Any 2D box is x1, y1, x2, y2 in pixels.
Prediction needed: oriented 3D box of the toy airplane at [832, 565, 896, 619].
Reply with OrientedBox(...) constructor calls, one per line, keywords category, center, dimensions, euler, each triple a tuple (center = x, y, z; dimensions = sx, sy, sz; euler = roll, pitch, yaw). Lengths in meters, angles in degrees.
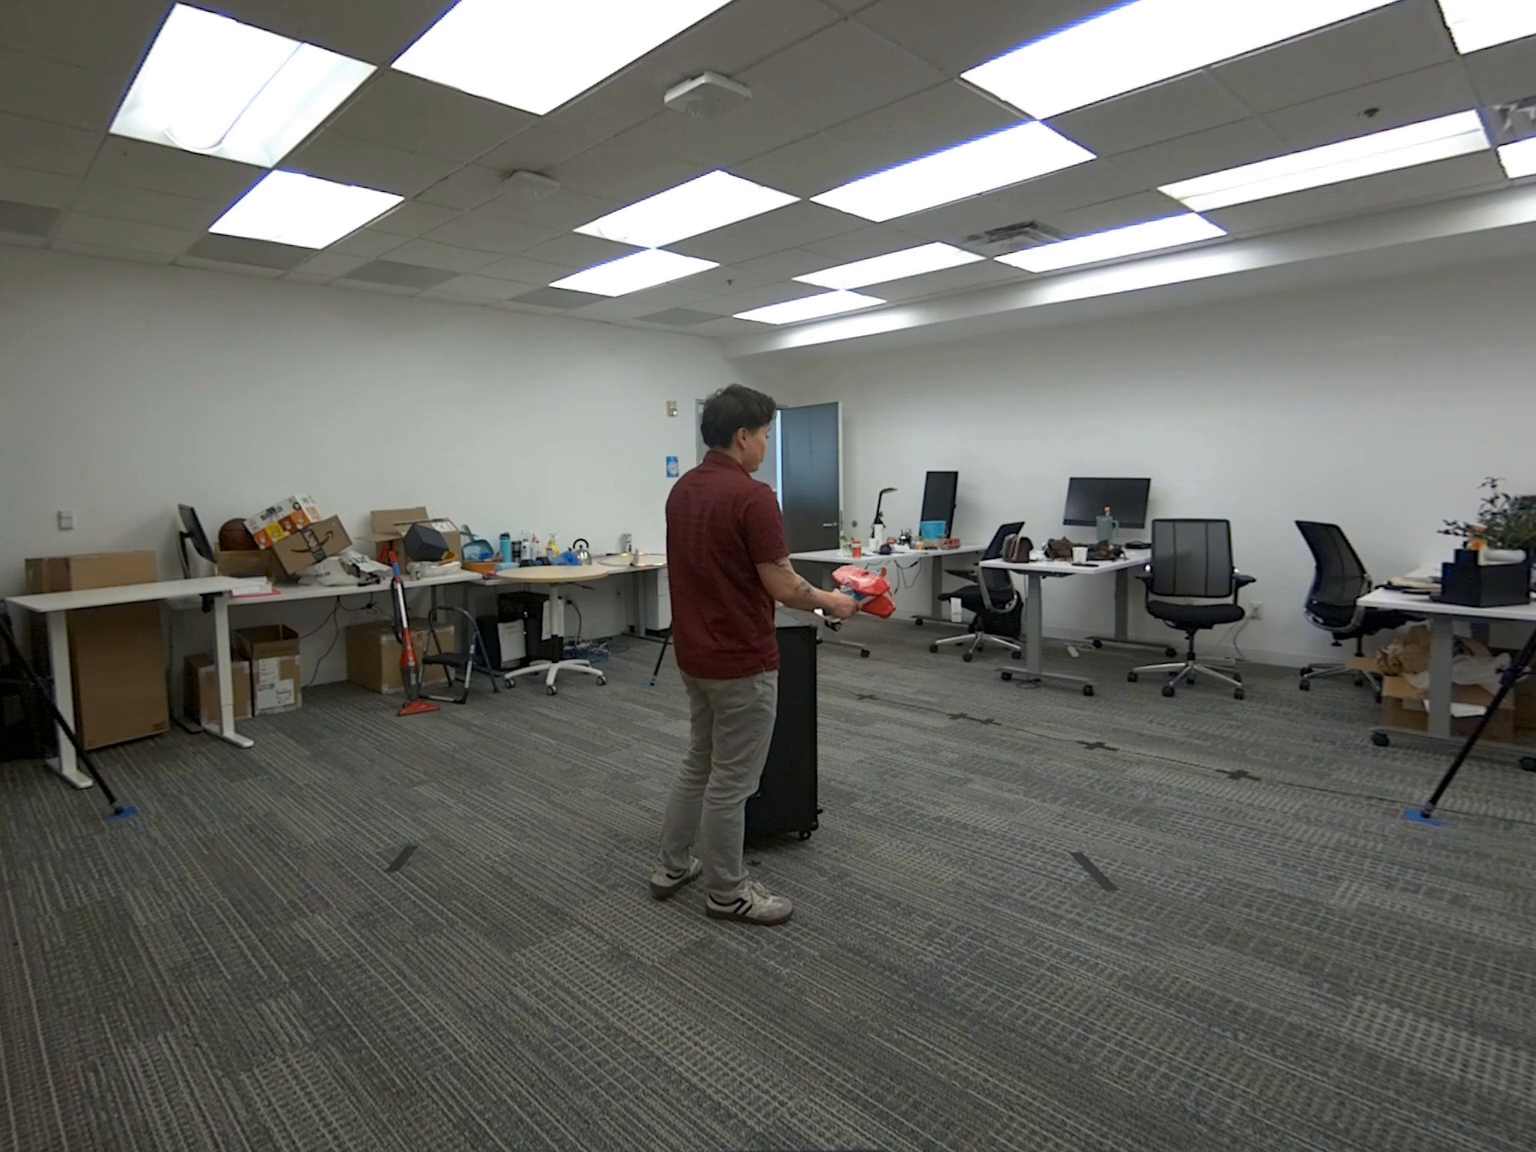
OrientedBox(category="toy airplane", center=(0.291, 0.080, 2.786), dimensions=(0.258, 0.154, 0.256), euler=(6, 23, 34))
